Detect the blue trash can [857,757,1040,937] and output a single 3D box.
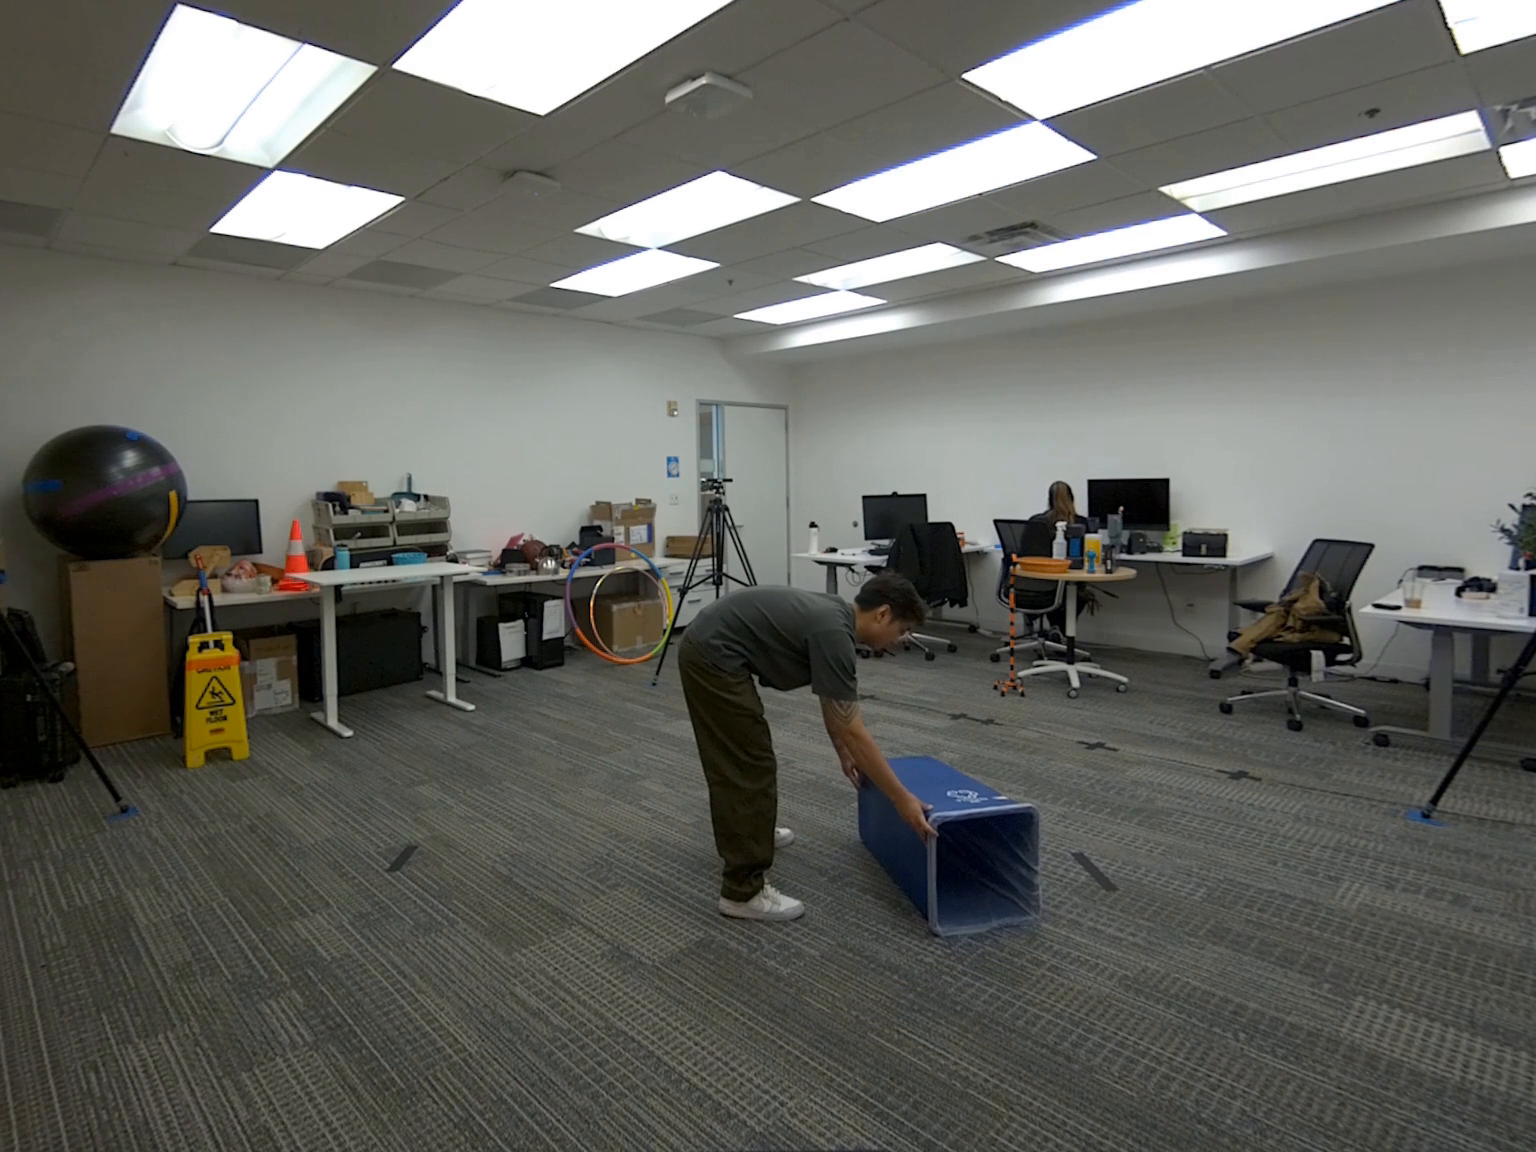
[{"bbox_3d":[0.579,0.871,2.969,0.373,0.373,0.725,-3,5,-14],"label":"blue trash can"}]
